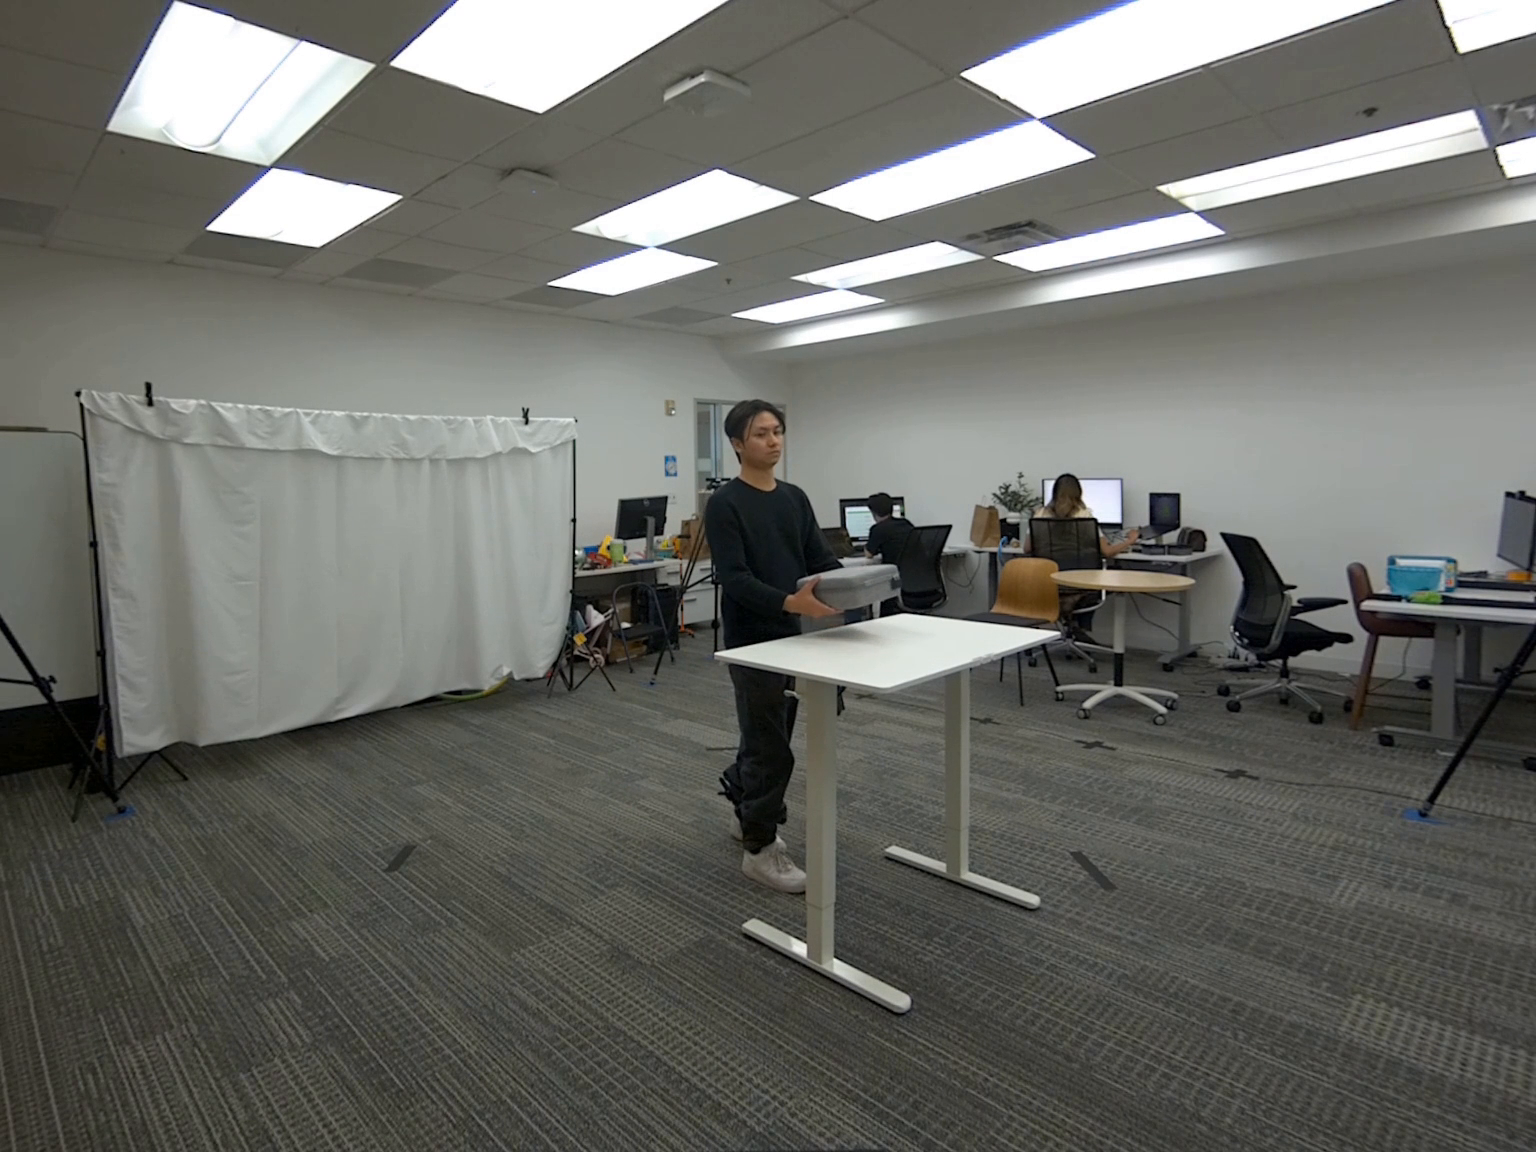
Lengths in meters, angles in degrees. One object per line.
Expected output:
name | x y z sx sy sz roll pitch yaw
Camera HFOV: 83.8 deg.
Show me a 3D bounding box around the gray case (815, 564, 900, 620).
gray case | 0.252 0.038 2.772 0.251 0.104 0.267 -14 7 -44
